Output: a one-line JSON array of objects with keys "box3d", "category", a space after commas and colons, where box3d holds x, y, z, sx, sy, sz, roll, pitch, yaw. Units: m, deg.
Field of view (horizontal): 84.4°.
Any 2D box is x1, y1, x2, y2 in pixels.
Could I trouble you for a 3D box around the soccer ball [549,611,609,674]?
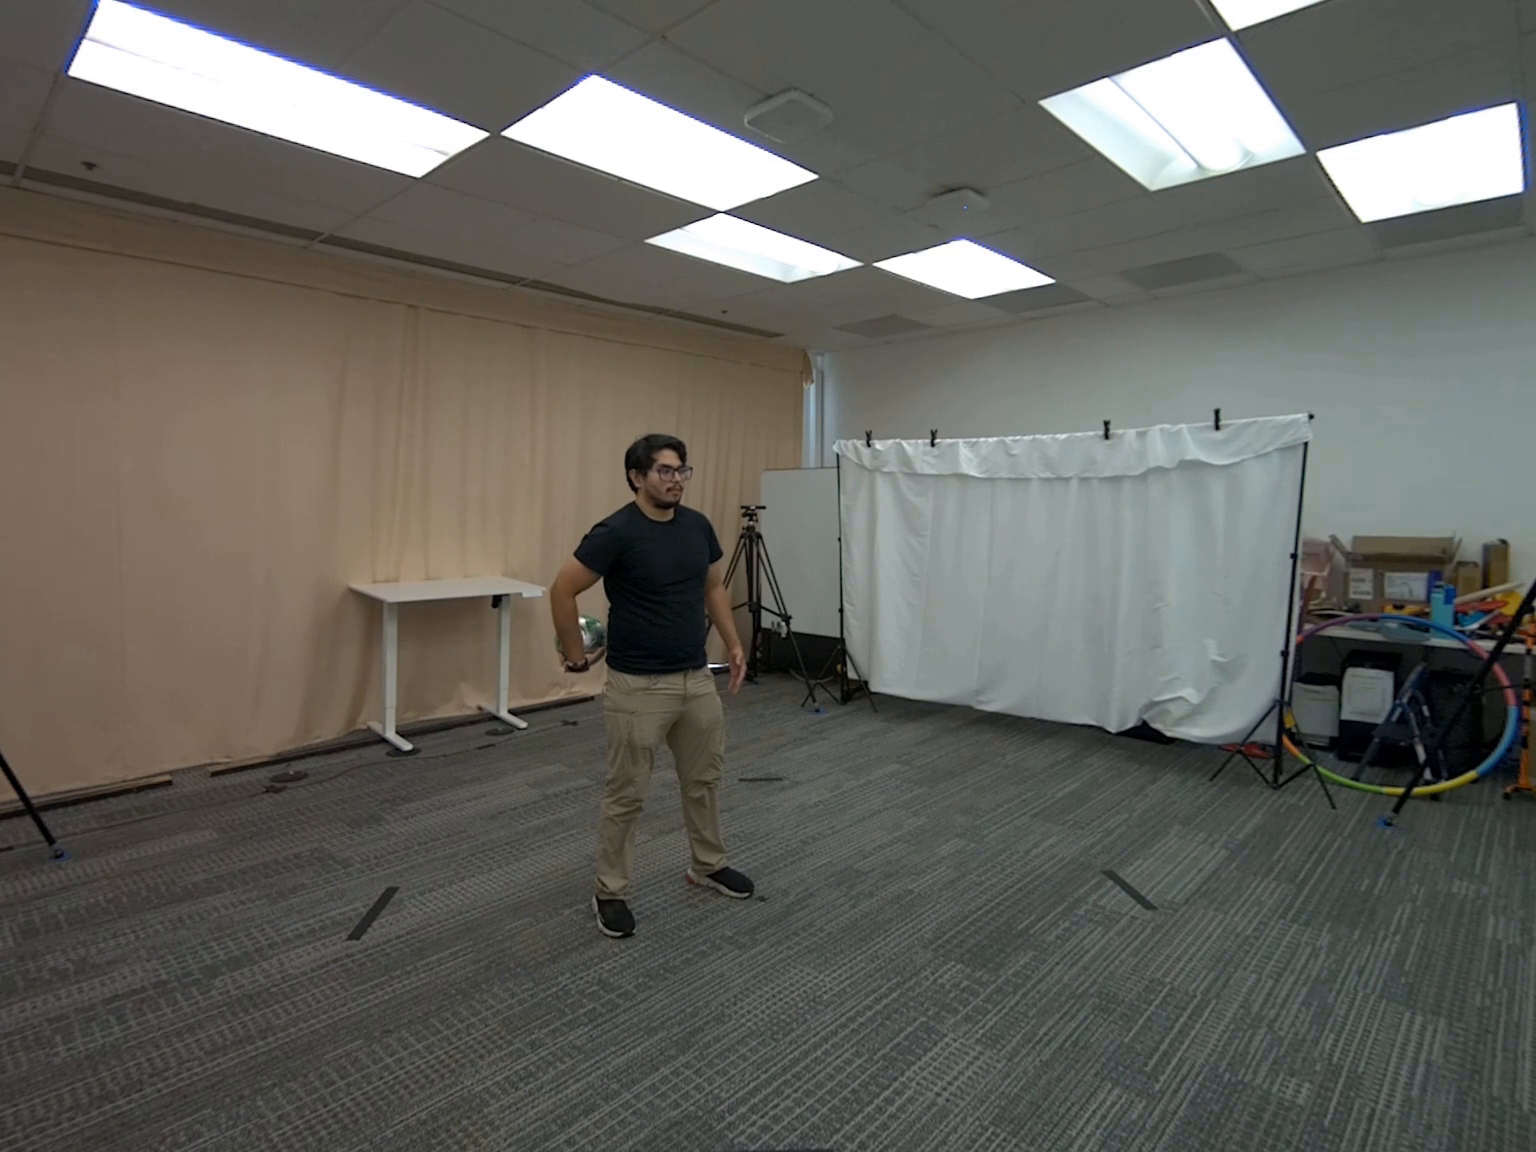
[{"box3d": [-0.652, 0.226, 2.958, 0.187, 0.187, 0.188, 0, 4, -2], "category": "soccer ball"}]
